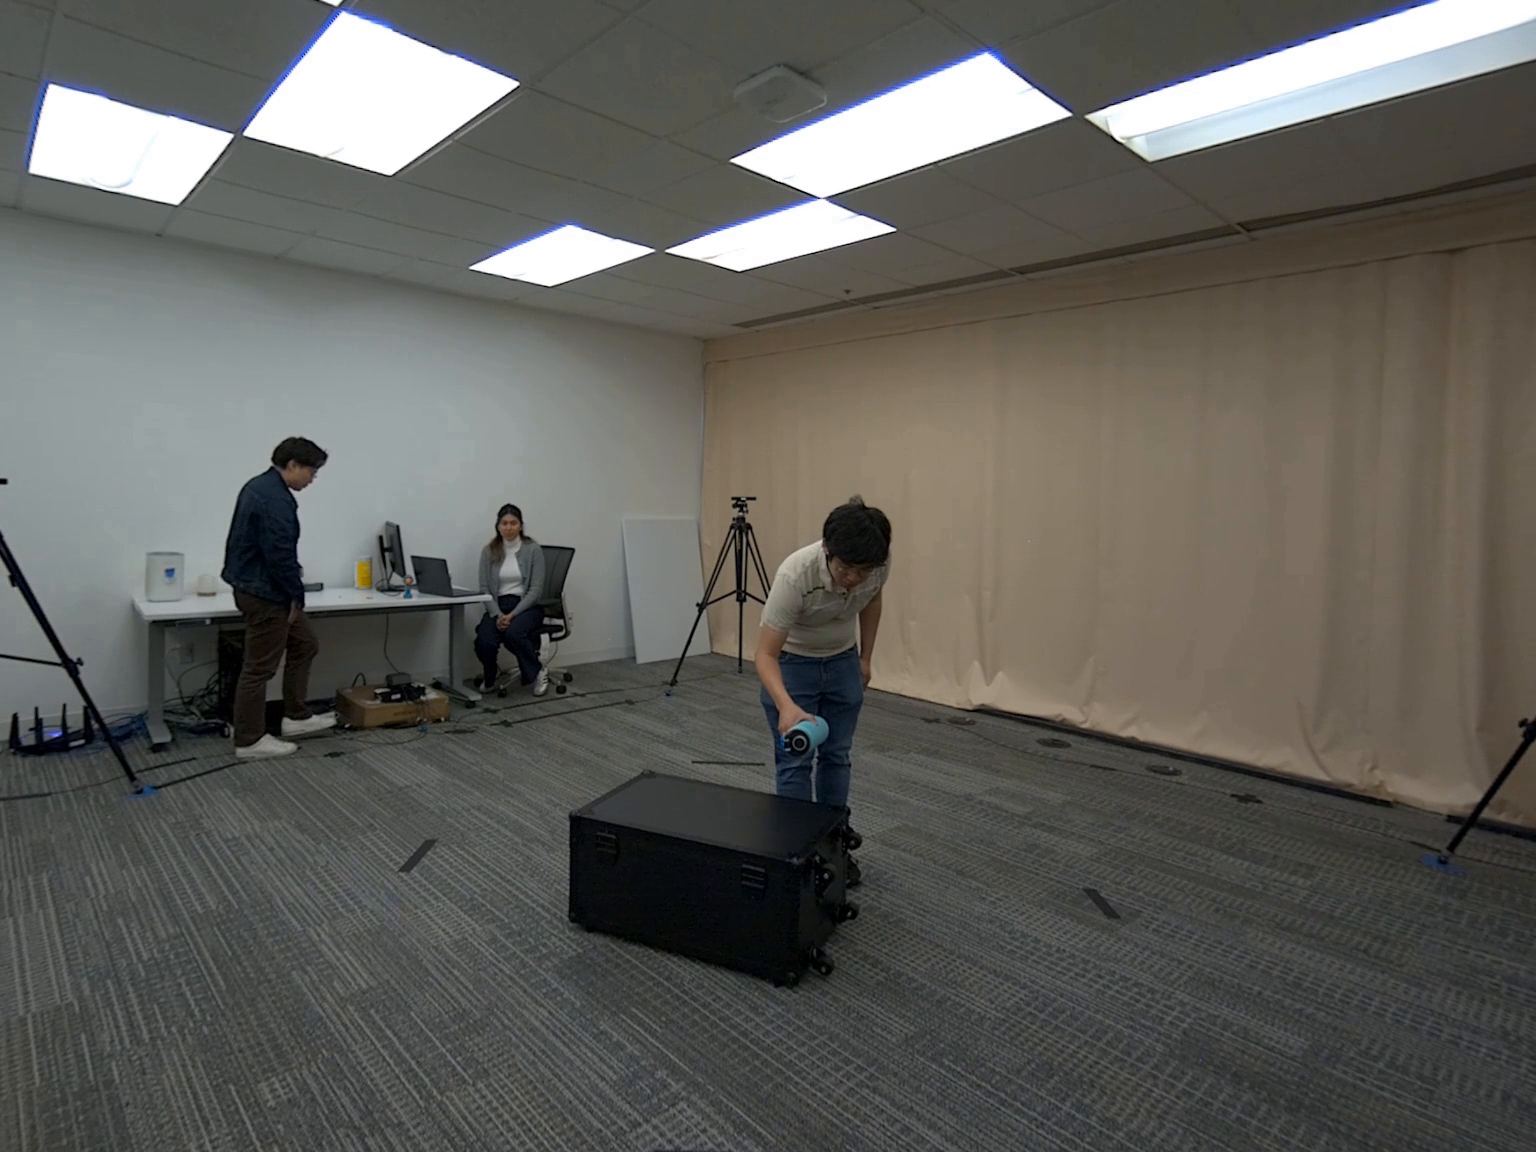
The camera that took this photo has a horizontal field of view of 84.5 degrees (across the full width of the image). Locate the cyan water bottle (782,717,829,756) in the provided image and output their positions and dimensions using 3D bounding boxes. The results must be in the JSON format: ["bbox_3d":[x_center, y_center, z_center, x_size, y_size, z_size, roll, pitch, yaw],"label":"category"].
[{"bbox_3d":[0.100,0.495,2.574,0.093,0.092,0.279,3,0,15],"label":"cyan water bottle"}]
